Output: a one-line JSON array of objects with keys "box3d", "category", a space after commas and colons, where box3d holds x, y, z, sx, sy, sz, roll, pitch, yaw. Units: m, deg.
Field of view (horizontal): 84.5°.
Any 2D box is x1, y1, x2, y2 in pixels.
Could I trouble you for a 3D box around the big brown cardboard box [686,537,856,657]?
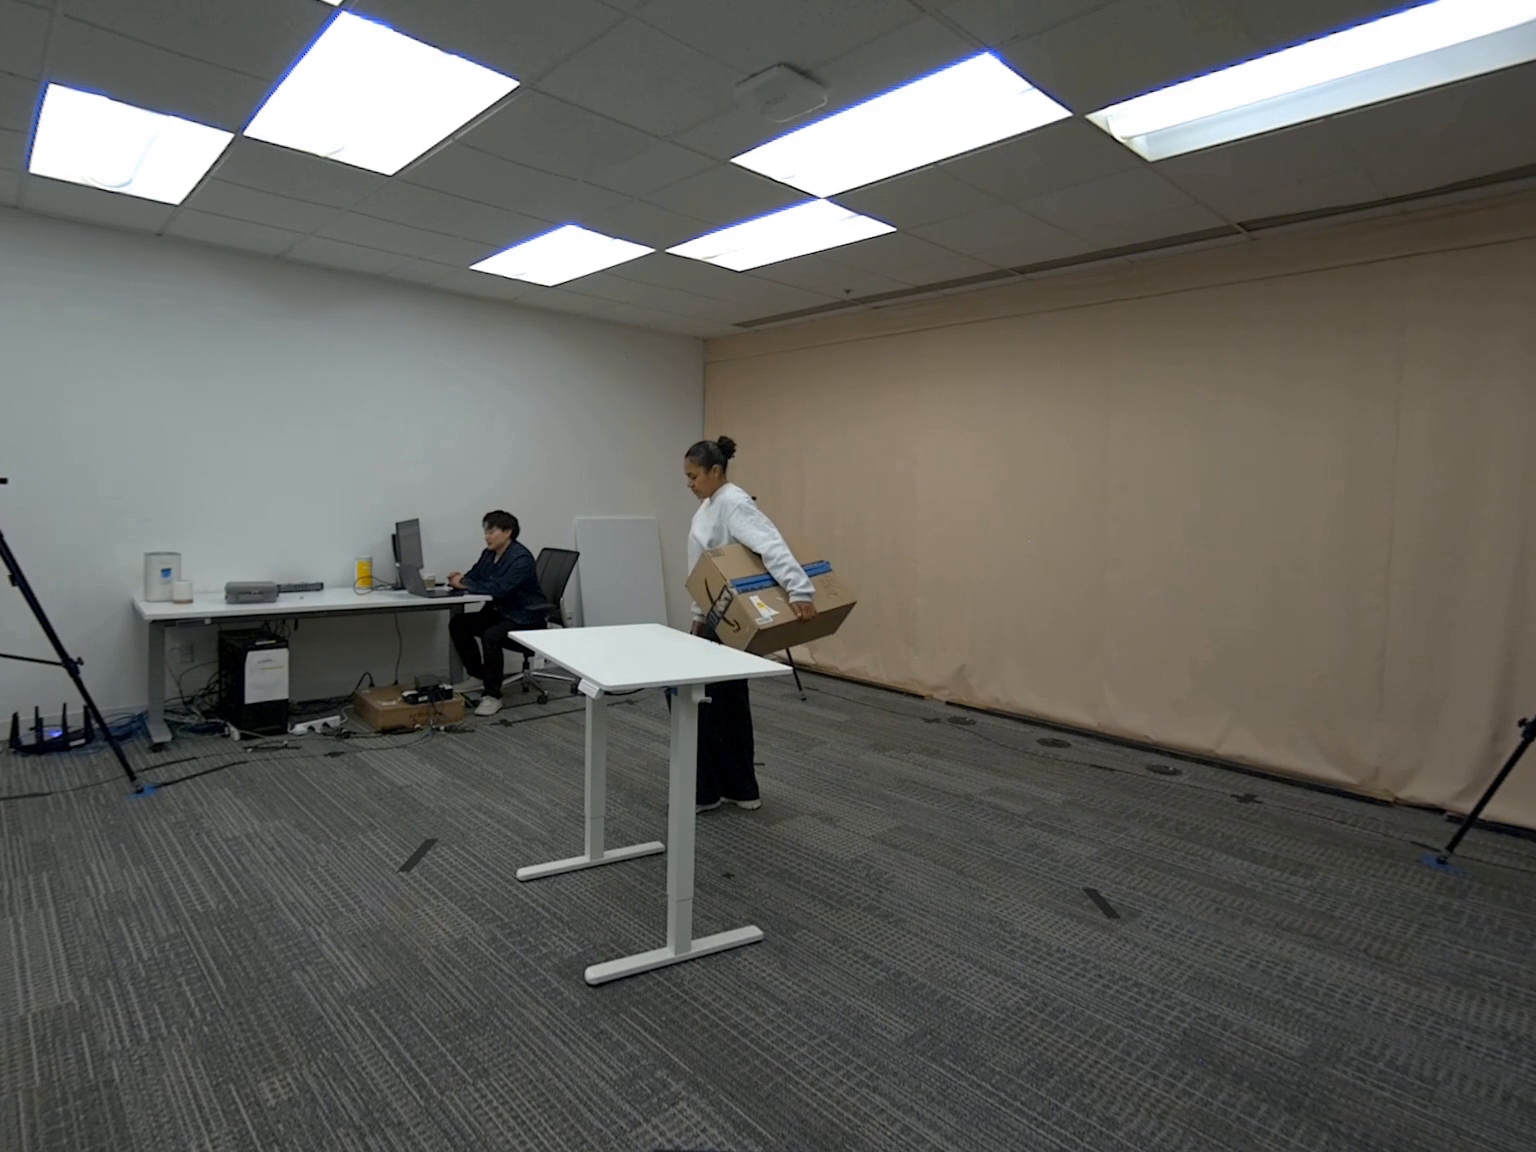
[{"box3d": [0.000, 0.083, 3.477, 0.578, 0.231, 0.428, -11, 53, -42], "category": "big brown cardboard box"}]
